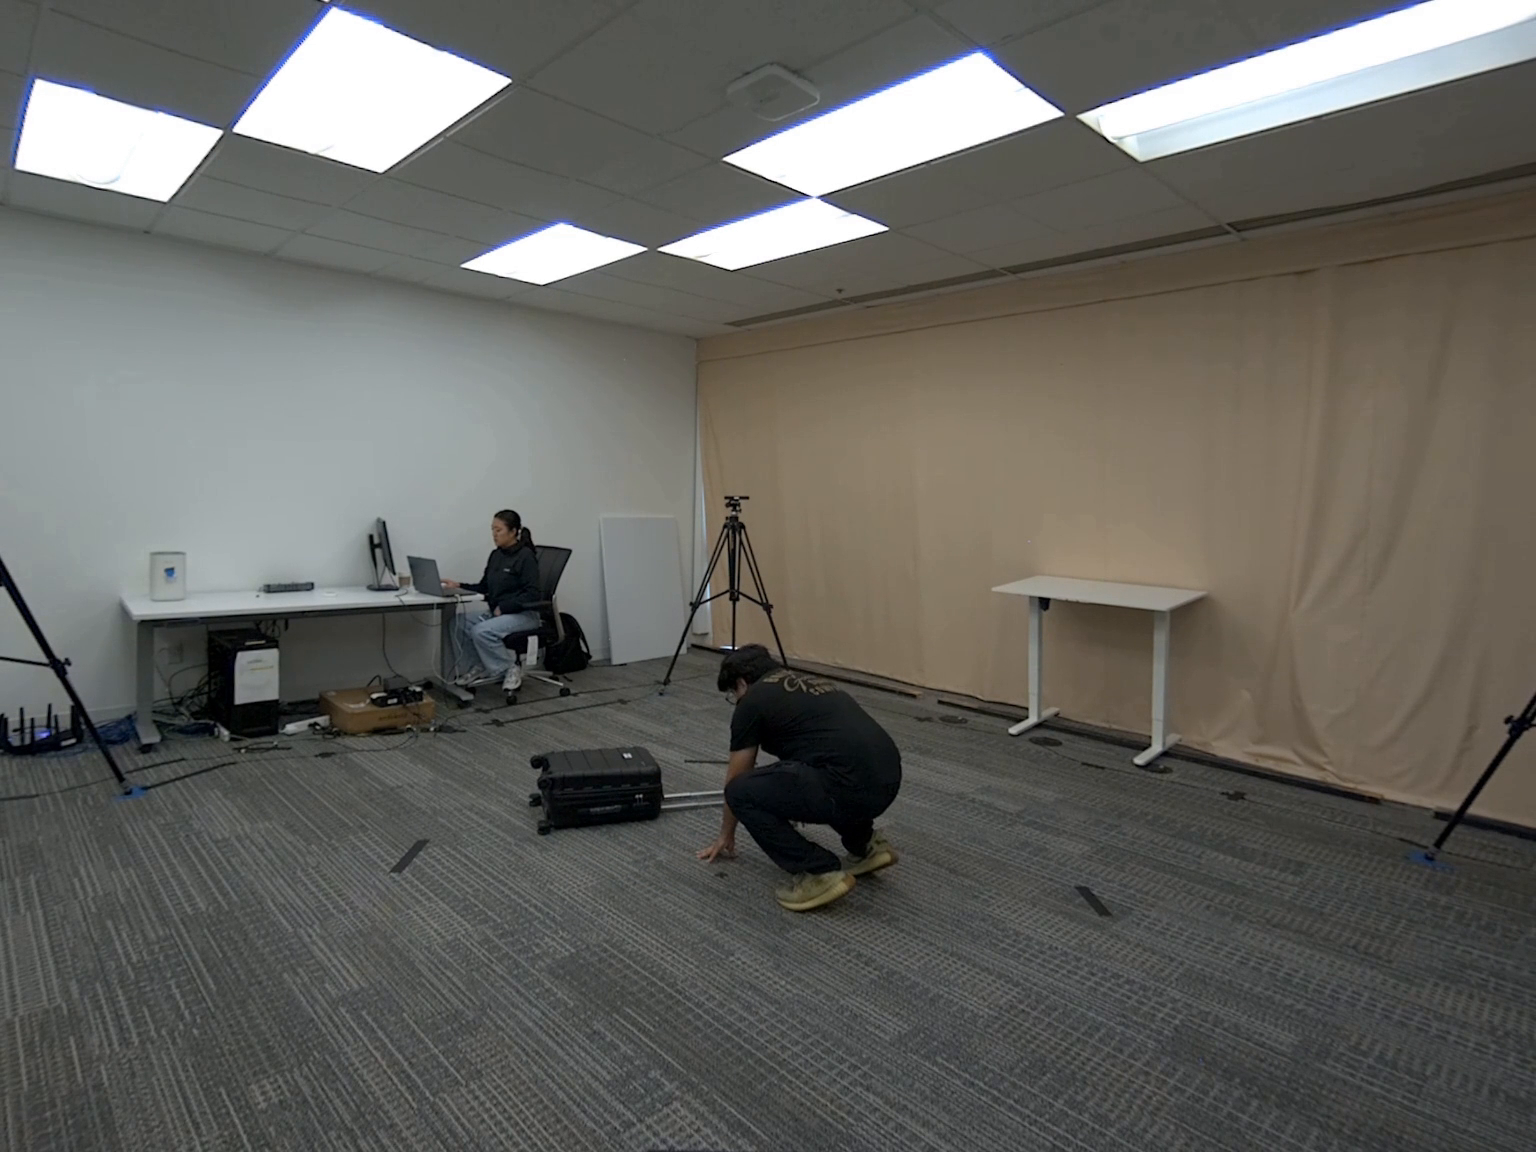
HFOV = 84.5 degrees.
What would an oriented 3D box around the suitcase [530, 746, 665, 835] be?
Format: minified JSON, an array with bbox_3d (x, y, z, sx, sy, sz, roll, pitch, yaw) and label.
[{"bbox_3d":[-0.561,0.911,3.751,0.964,0.256,0.390,-2,4,-19],"label":"suitcase"}]
